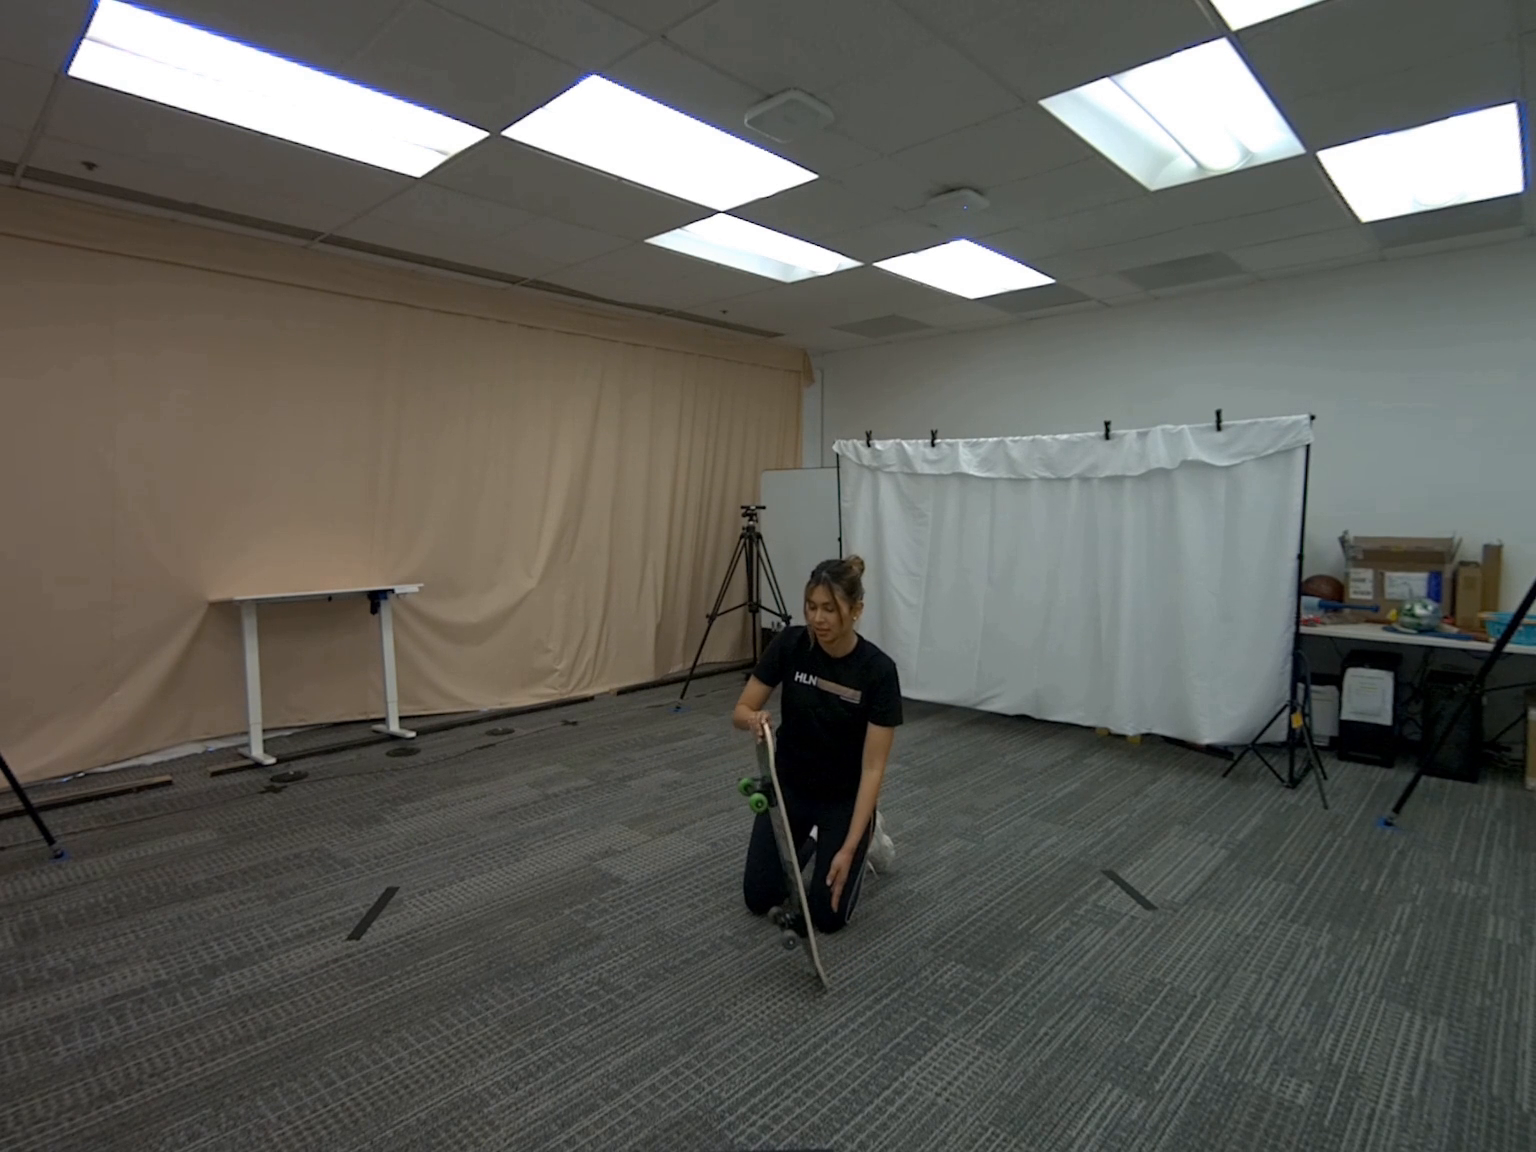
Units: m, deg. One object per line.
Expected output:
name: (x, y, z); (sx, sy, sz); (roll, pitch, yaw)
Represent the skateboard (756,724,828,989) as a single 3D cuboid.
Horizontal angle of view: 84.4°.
skateboard: (0.027, 0.817, 2.428); (0.109, 0.784, 0.196); (-13, 1, -13)
